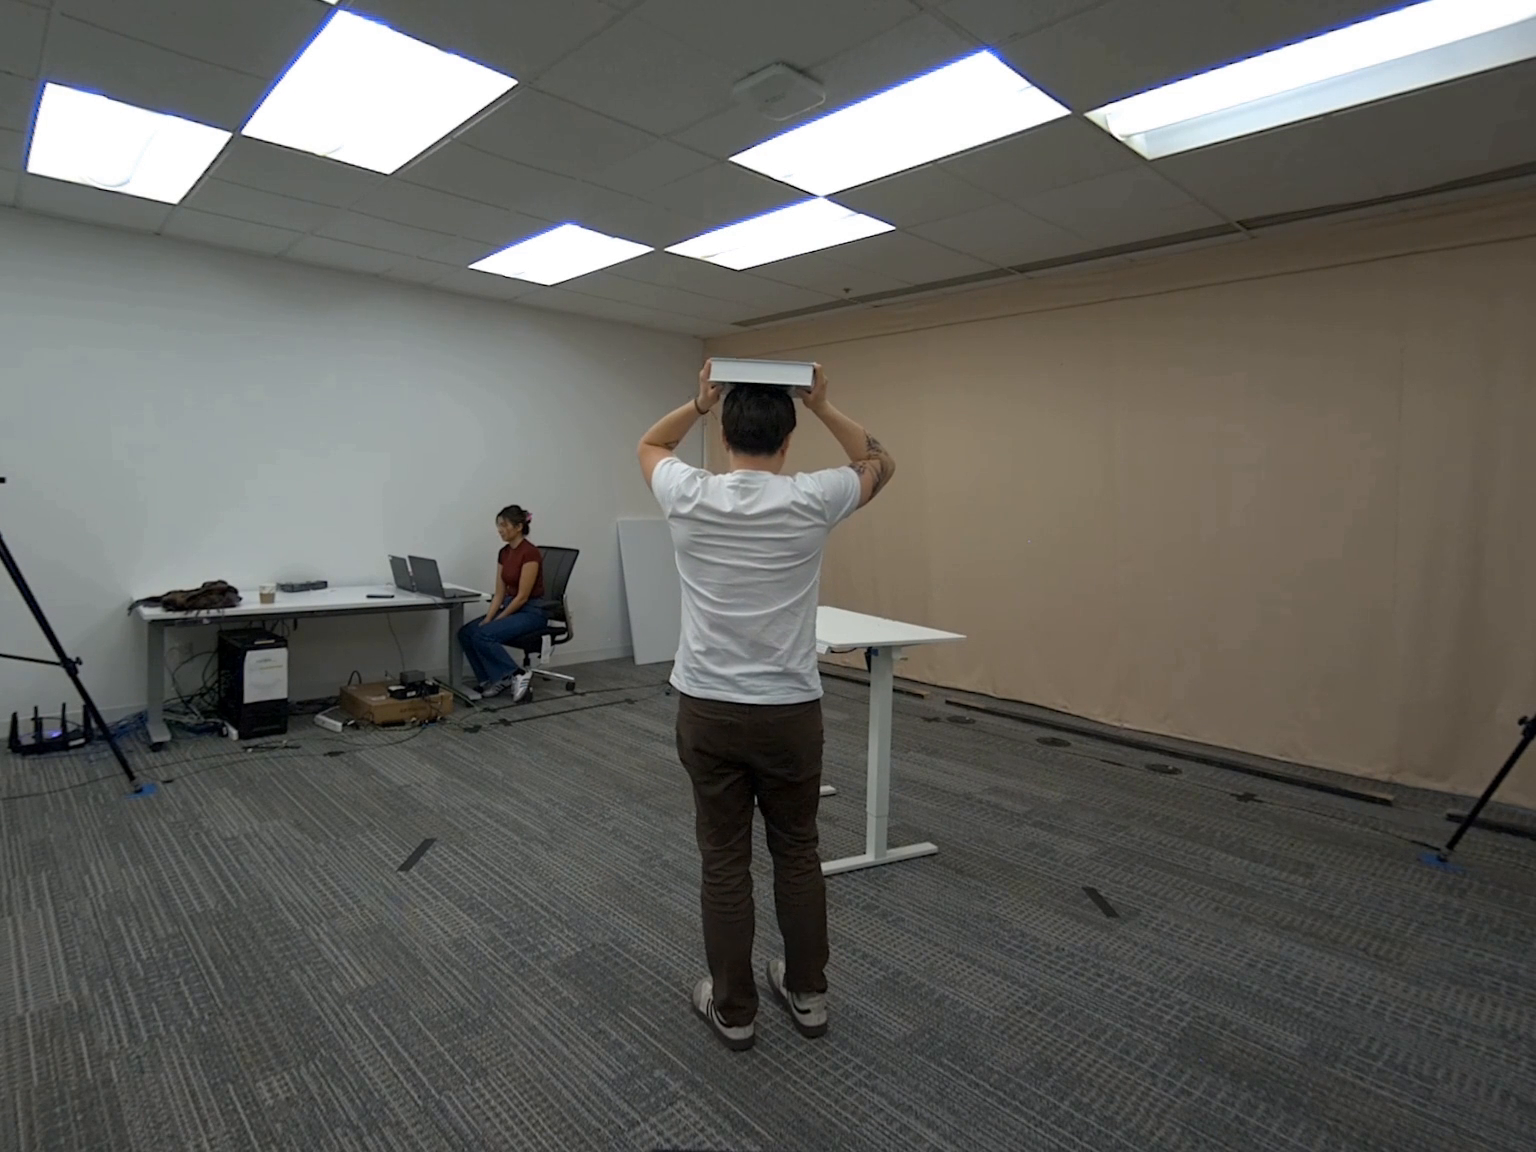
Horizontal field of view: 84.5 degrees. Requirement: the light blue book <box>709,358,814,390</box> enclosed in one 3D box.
[{"bbox_3d":[-0.021,-0.506,2.178,0.261,0.059,0.191,4,1,1],"label":"light blue book"}]
